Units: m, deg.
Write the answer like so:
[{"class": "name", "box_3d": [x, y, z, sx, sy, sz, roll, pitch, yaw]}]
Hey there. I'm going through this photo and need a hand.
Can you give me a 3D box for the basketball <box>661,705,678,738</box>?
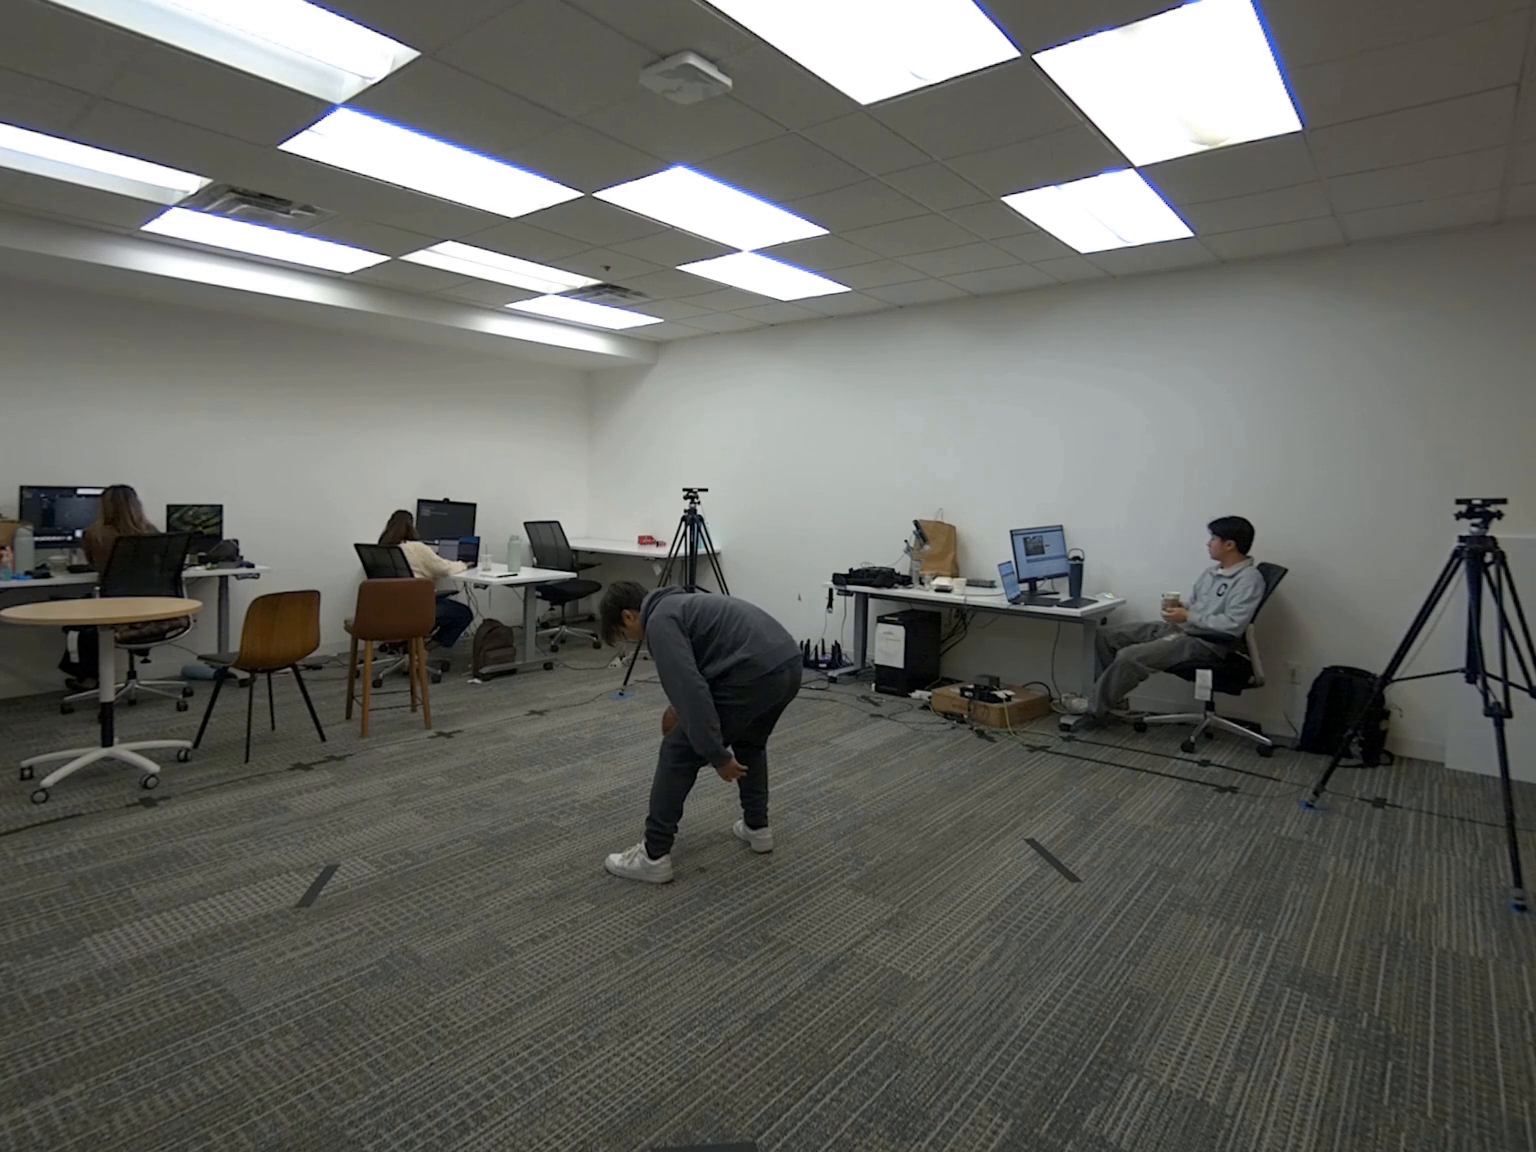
[{"class": "basketball", "box_3d": [-0.307, 0.592, 3.404, 0.235, 0.235, 0.237, 1, 4, -2]}]
